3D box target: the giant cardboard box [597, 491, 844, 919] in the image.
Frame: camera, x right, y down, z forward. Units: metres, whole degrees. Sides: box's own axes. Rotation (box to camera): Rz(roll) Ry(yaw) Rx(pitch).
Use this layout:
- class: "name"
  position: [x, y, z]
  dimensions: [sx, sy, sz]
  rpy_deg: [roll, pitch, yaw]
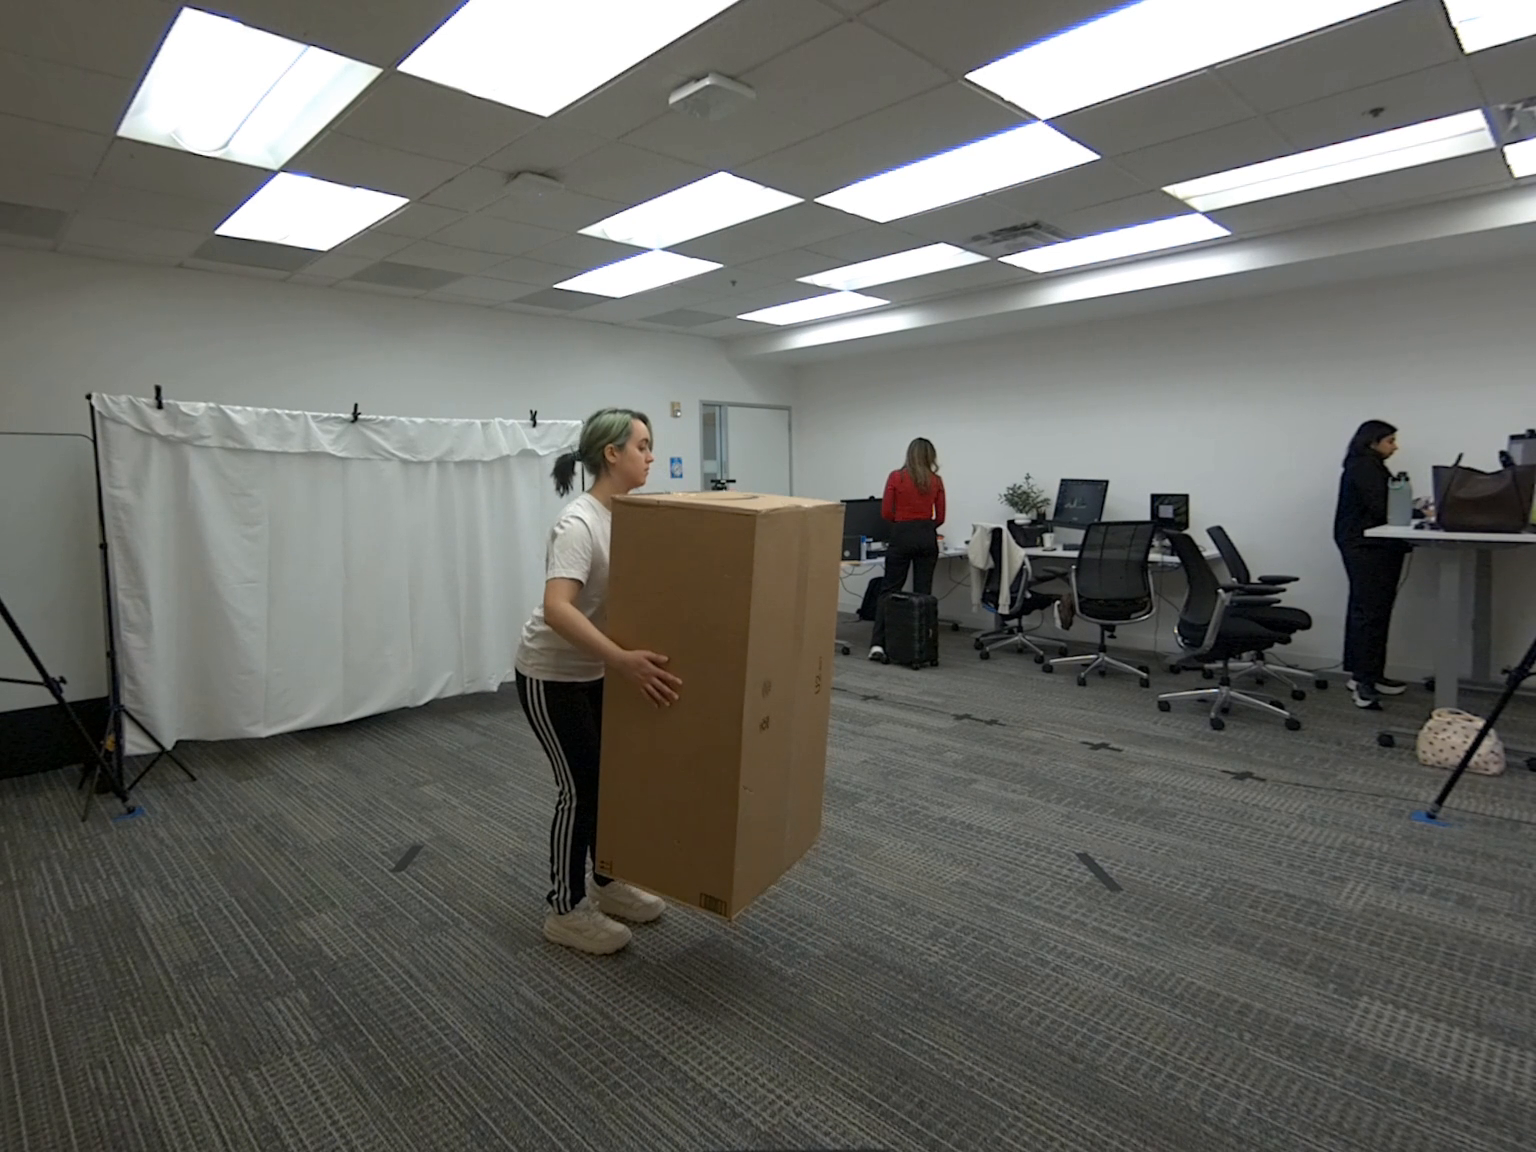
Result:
- class: "giant cardboard box"
  position: [-0.121, 0.298, 2.386]
  dimensions: [0.437, 1.020, 0.565]
  rpy_deg: [7, 7, 27]
